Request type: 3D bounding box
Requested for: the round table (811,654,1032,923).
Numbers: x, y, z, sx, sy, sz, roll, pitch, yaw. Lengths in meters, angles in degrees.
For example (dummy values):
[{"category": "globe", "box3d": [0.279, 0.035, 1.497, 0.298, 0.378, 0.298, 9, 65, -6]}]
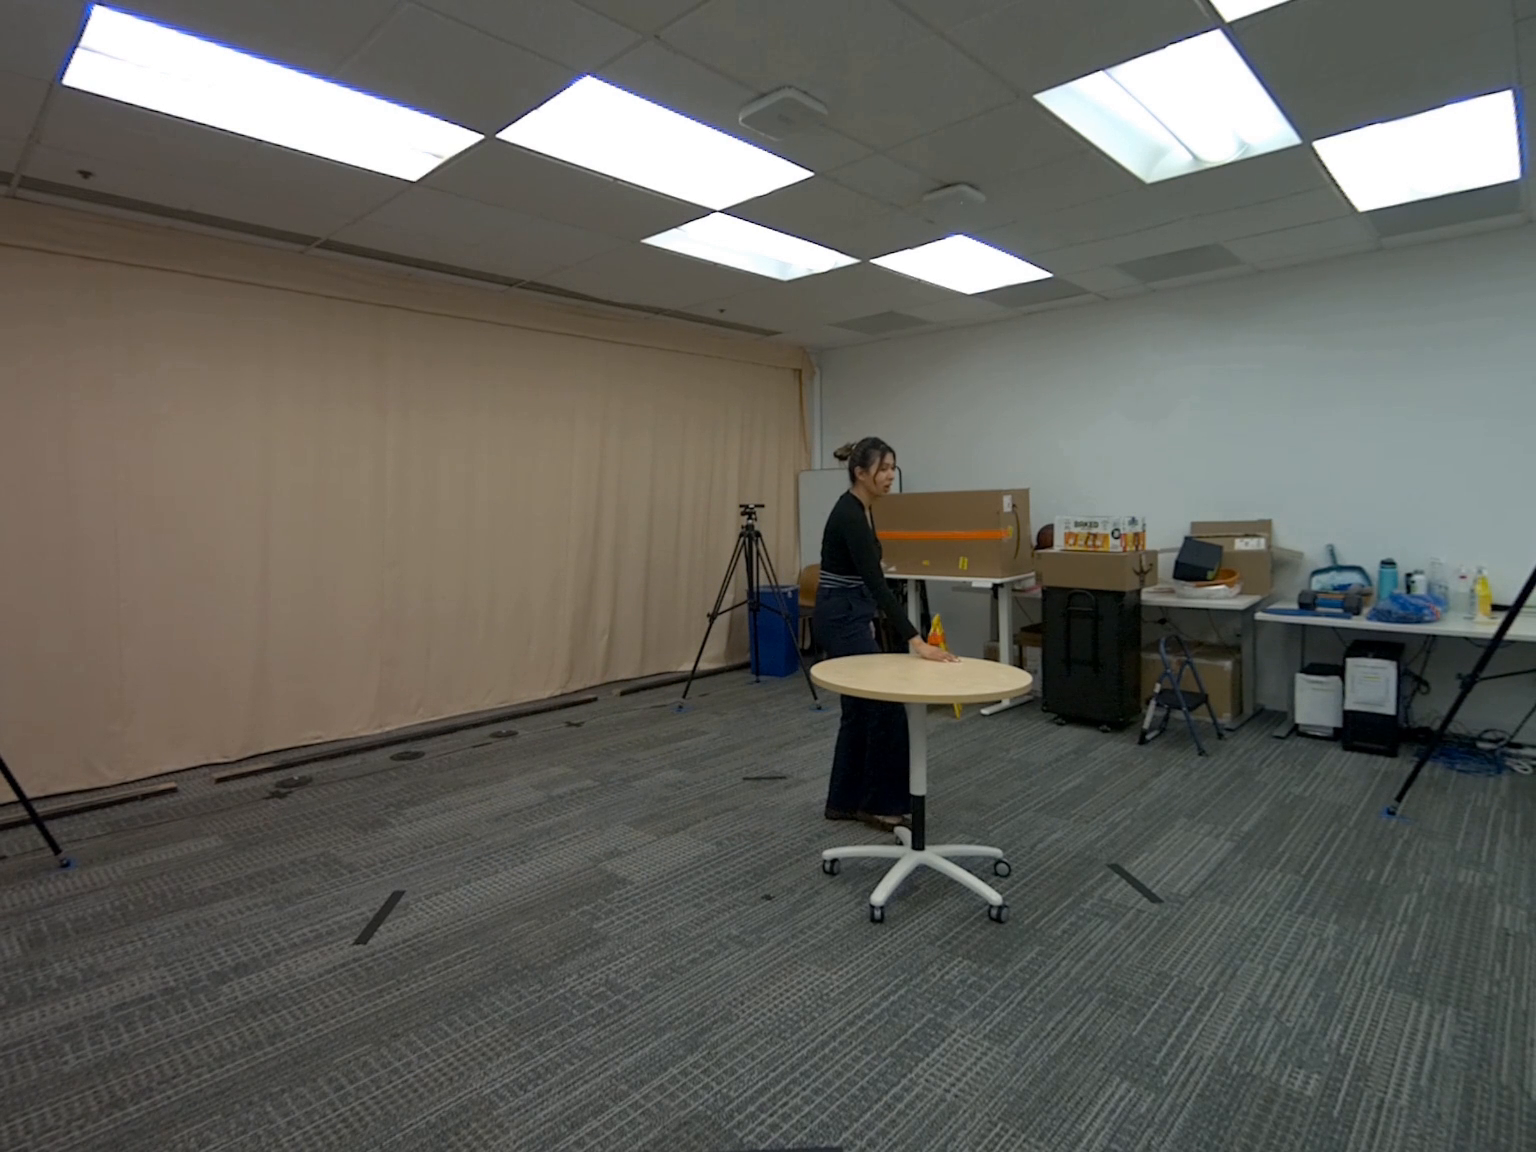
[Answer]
[{"category": "round table", "box3d": [0.541, 0.736, 3.025, 0.763, 0.792, 0.766, -1, 3, -2]}]
